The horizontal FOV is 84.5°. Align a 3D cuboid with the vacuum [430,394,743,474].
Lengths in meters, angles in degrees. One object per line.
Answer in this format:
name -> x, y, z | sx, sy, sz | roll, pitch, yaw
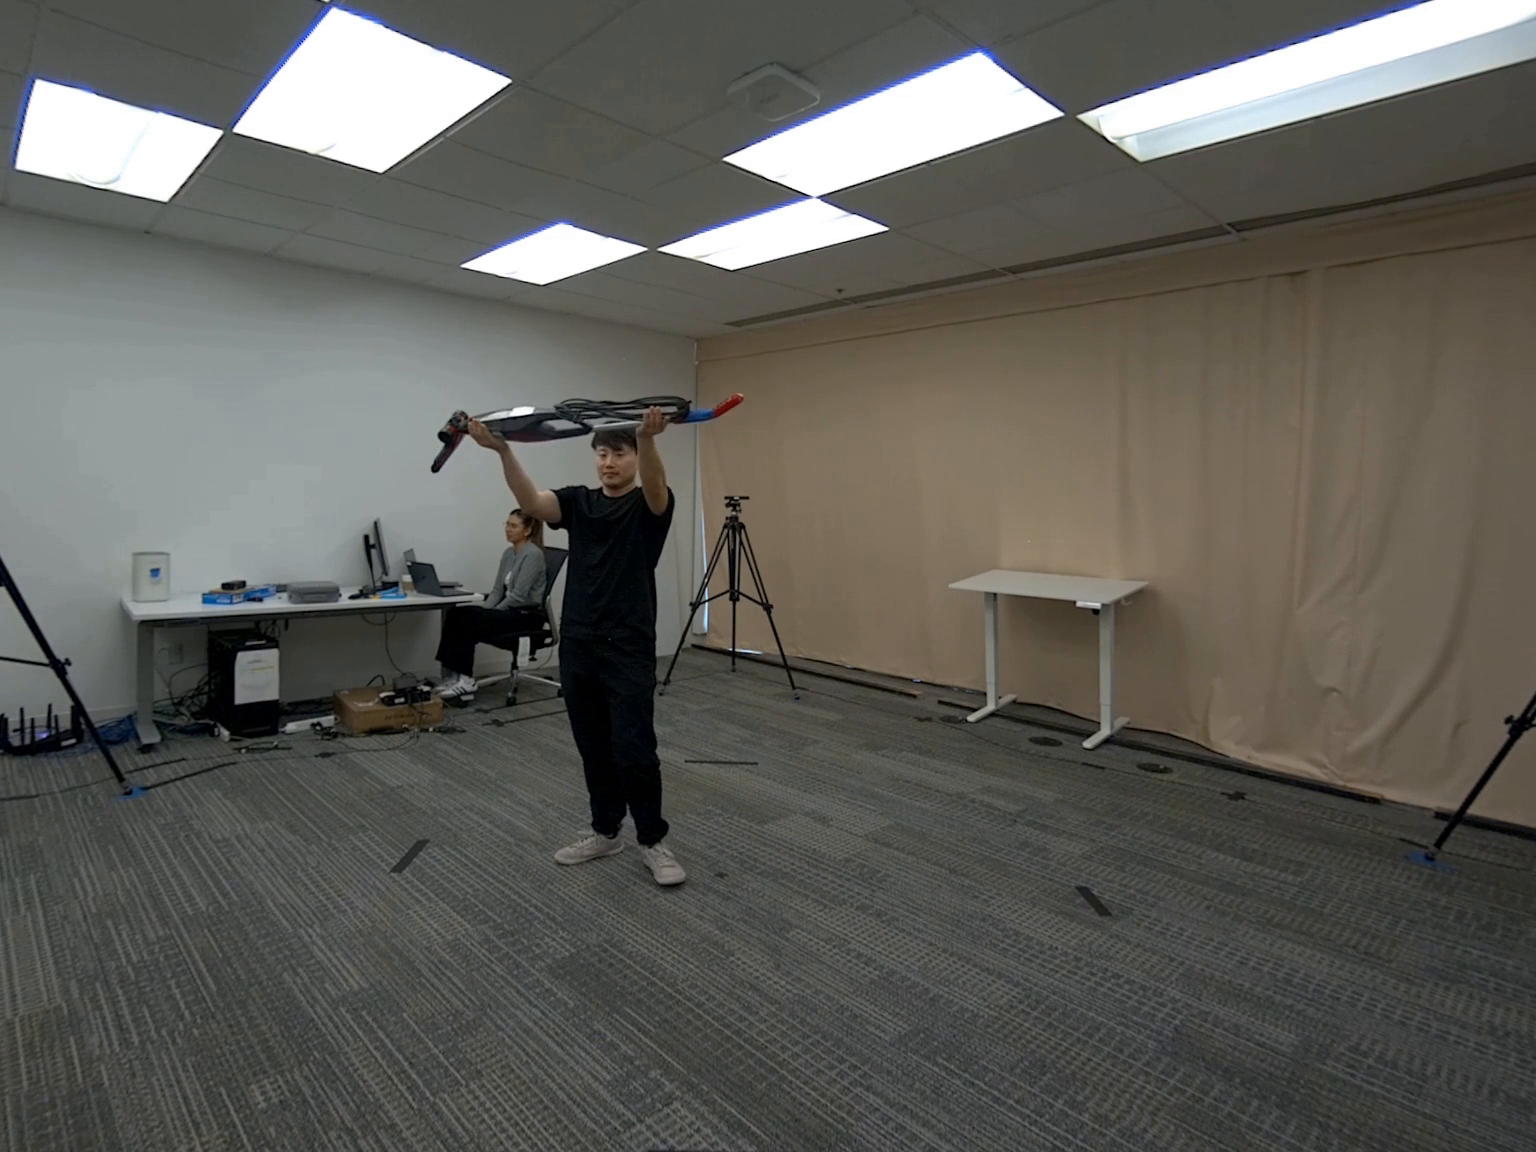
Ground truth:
vacuum -> -0.599, -0.510, 2.712 | 1.063, 0.140, 0.256 | -5, 40, 19
